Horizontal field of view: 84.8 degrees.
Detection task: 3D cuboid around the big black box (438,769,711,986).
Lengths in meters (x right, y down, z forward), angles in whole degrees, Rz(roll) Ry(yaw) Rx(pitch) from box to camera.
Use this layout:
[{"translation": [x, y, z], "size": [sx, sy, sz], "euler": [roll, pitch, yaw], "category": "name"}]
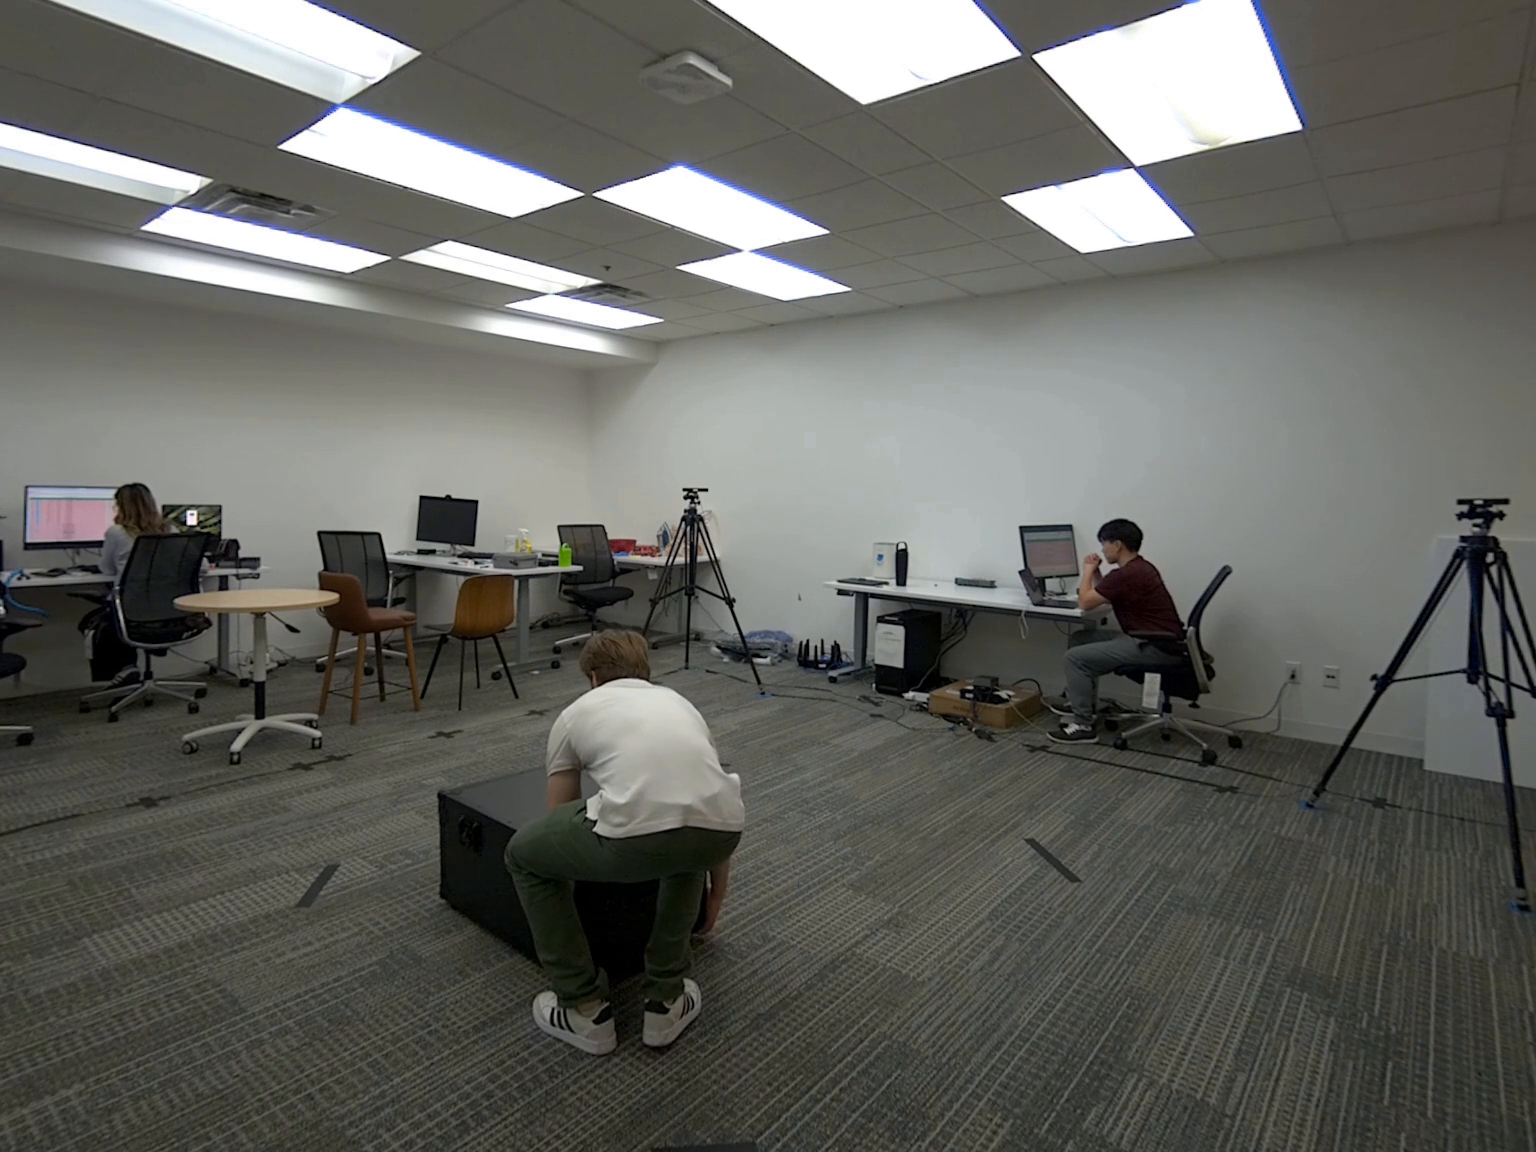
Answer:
[{"translation": [-0.677, 0.904, 2.750], "size": [0.891, 0.395, 0.506], "euler": [6, 7, 41], "category": "big black box"}]
